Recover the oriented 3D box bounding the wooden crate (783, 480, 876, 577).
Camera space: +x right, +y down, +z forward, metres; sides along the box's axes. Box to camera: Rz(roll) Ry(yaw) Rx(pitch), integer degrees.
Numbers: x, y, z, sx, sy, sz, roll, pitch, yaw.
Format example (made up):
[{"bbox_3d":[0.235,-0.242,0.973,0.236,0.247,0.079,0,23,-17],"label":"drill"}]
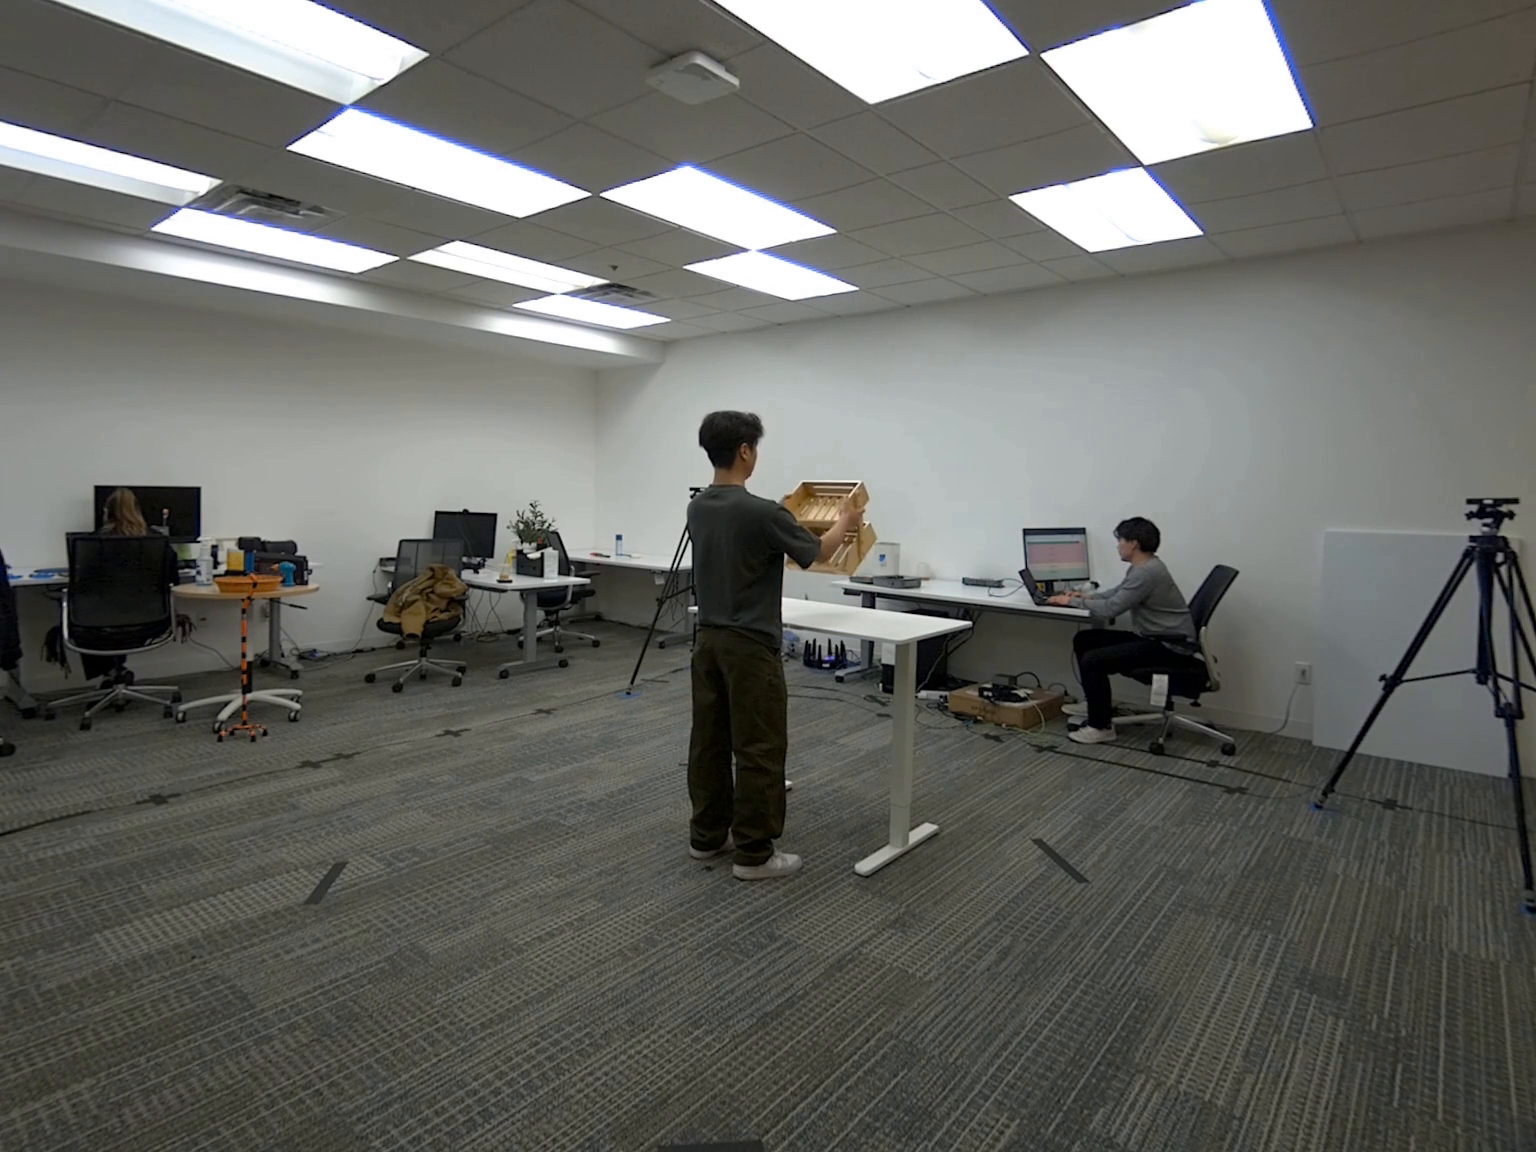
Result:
[{"bbox_3d":[0.218,-0.200,3.462,0.335,0.264,0.302,5,44,41],"label":"wooden crate"}]
